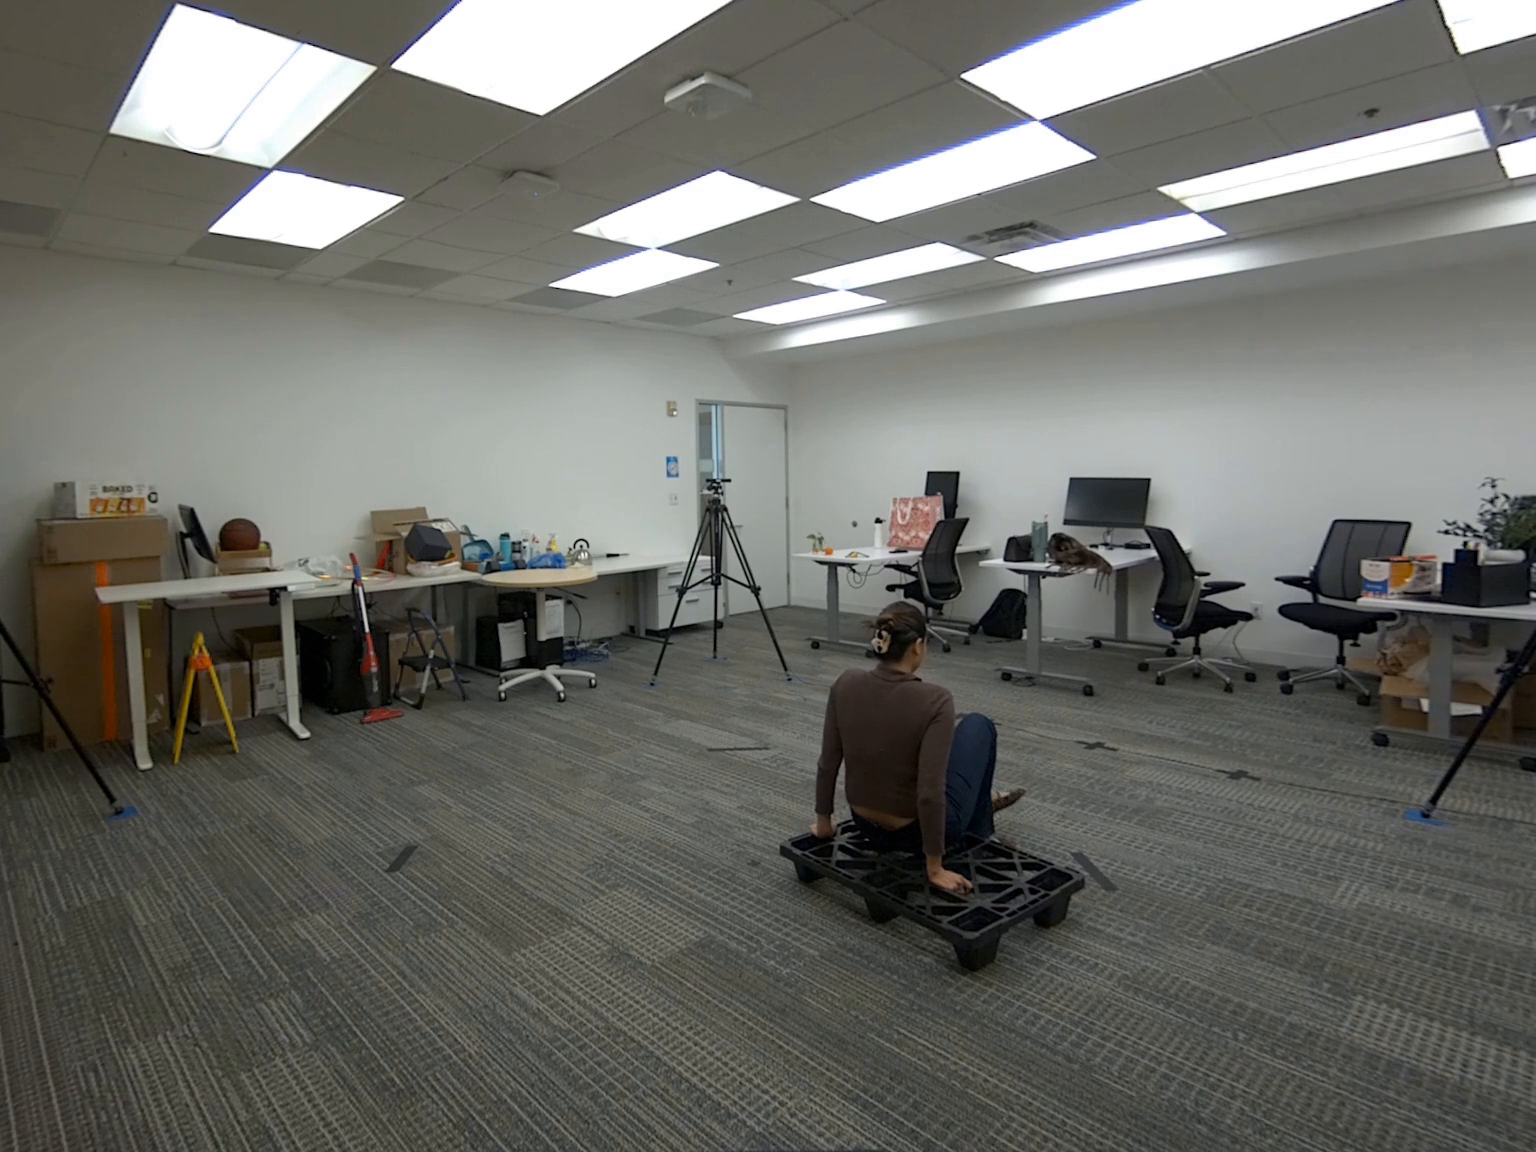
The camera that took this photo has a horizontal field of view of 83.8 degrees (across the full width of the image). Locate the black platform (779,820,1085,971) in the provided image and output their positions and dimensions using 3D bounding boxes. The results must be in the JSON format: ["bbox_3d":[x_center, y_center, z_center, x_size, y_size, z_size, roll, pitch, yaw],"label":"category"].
[{"bbox_3d":[0.518,1.003,2.820,0.590,0.143,0.830,-7,8,-38],"label":"black platform"}]
